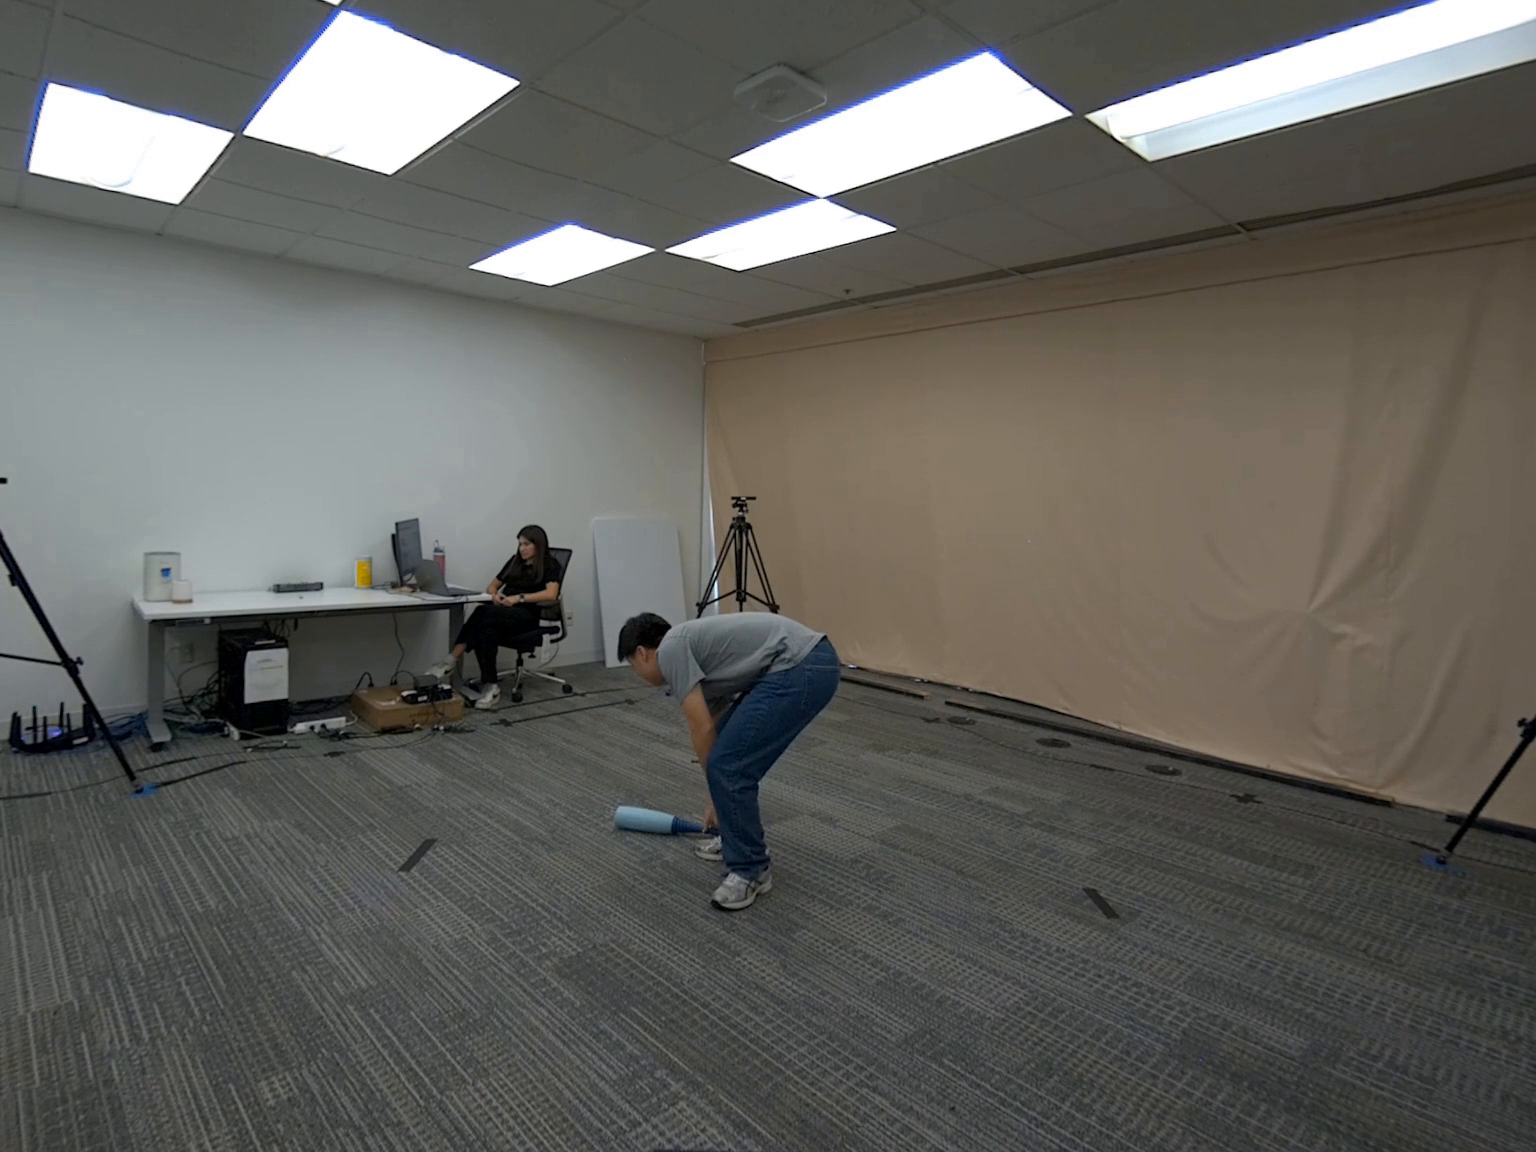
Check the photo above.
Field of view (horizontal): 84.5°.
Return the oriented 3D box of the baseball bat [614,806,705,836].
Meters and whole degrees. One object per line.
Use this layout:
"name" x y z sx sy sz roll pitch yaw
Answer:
"baseball bat" -0.385 1.015 3.465 0.549 0.089 0.088 4 5 12
